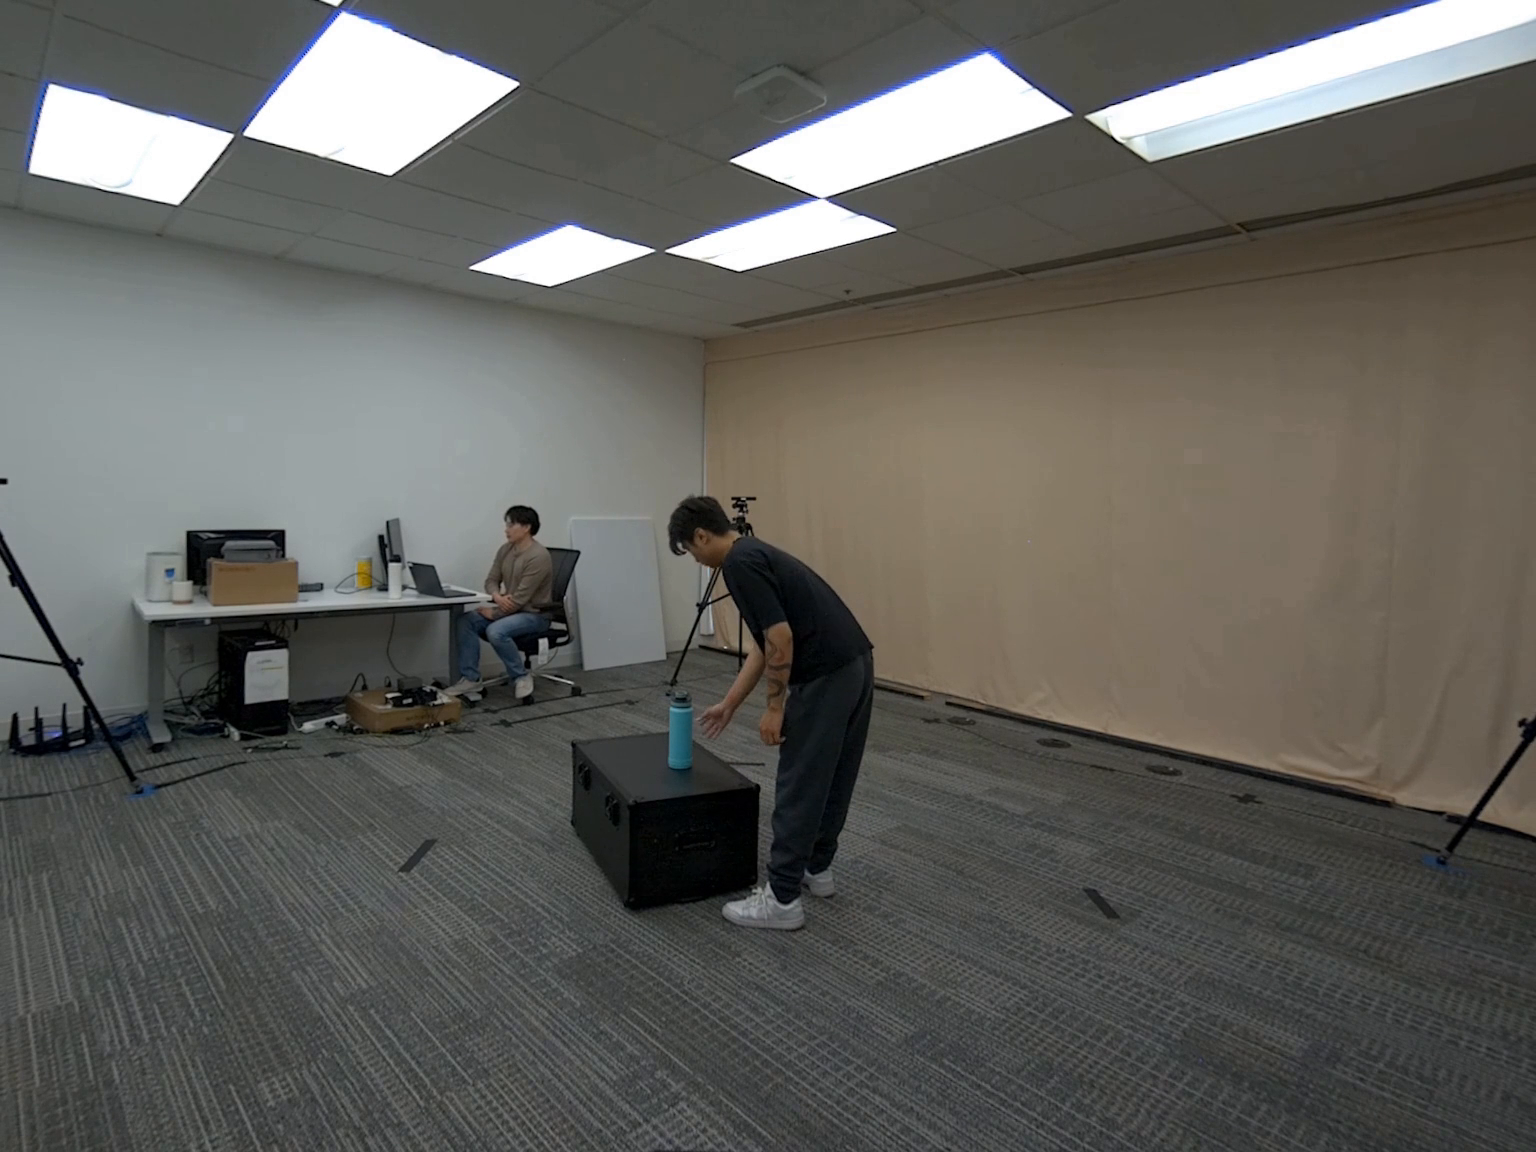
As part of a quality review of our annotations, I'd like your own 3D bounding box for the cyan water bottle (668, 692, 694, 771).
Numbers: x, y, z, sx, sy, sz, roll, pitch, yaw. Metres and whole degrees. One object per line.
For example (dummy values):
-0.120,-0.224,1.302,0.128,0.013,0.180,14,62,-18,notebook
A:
-0.341,0.583,3.192,0.092,0.283,0.092,1,0,-1,cyan water bottle
